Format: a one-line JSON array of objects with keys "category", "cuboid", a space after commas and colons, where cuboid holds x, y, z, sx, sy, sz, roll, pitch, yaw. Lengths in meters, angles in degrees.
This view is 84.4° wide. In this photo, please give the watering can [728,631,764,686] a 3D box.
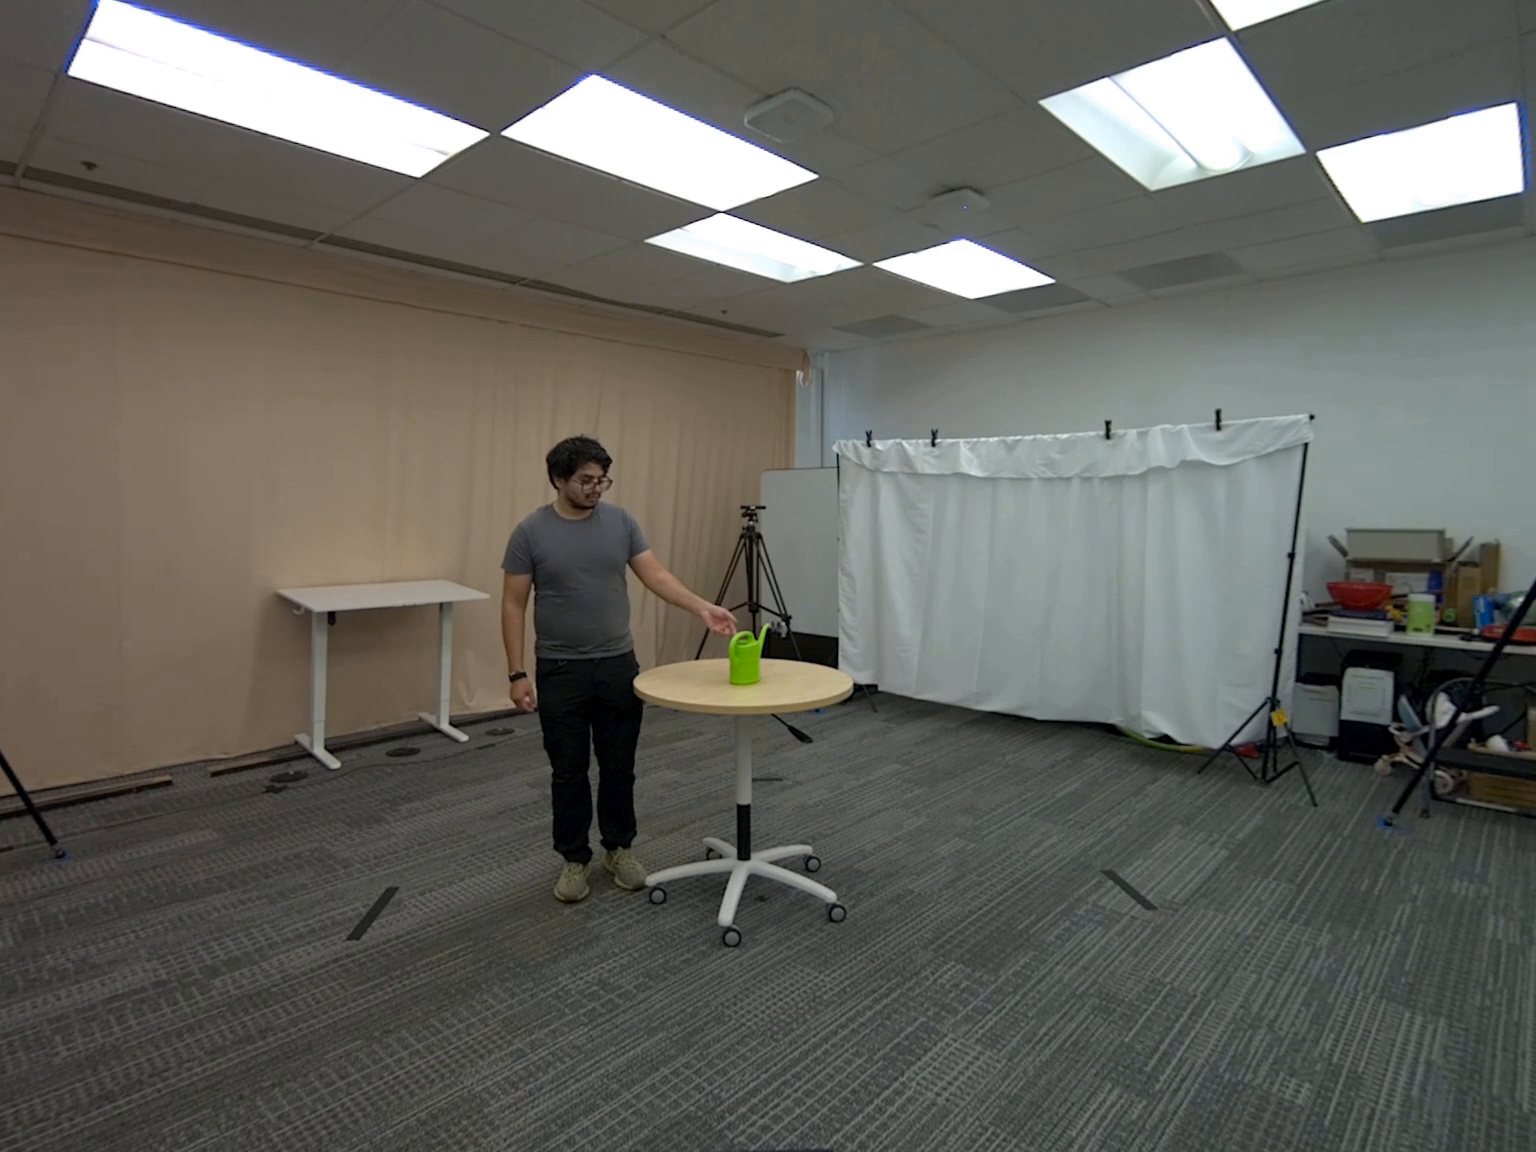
[{"category": "watering can", "cuboid": [-0.060, 0.277, 2.939, 0.101, 0.176, 0.270, 1, 7, 37]}]
